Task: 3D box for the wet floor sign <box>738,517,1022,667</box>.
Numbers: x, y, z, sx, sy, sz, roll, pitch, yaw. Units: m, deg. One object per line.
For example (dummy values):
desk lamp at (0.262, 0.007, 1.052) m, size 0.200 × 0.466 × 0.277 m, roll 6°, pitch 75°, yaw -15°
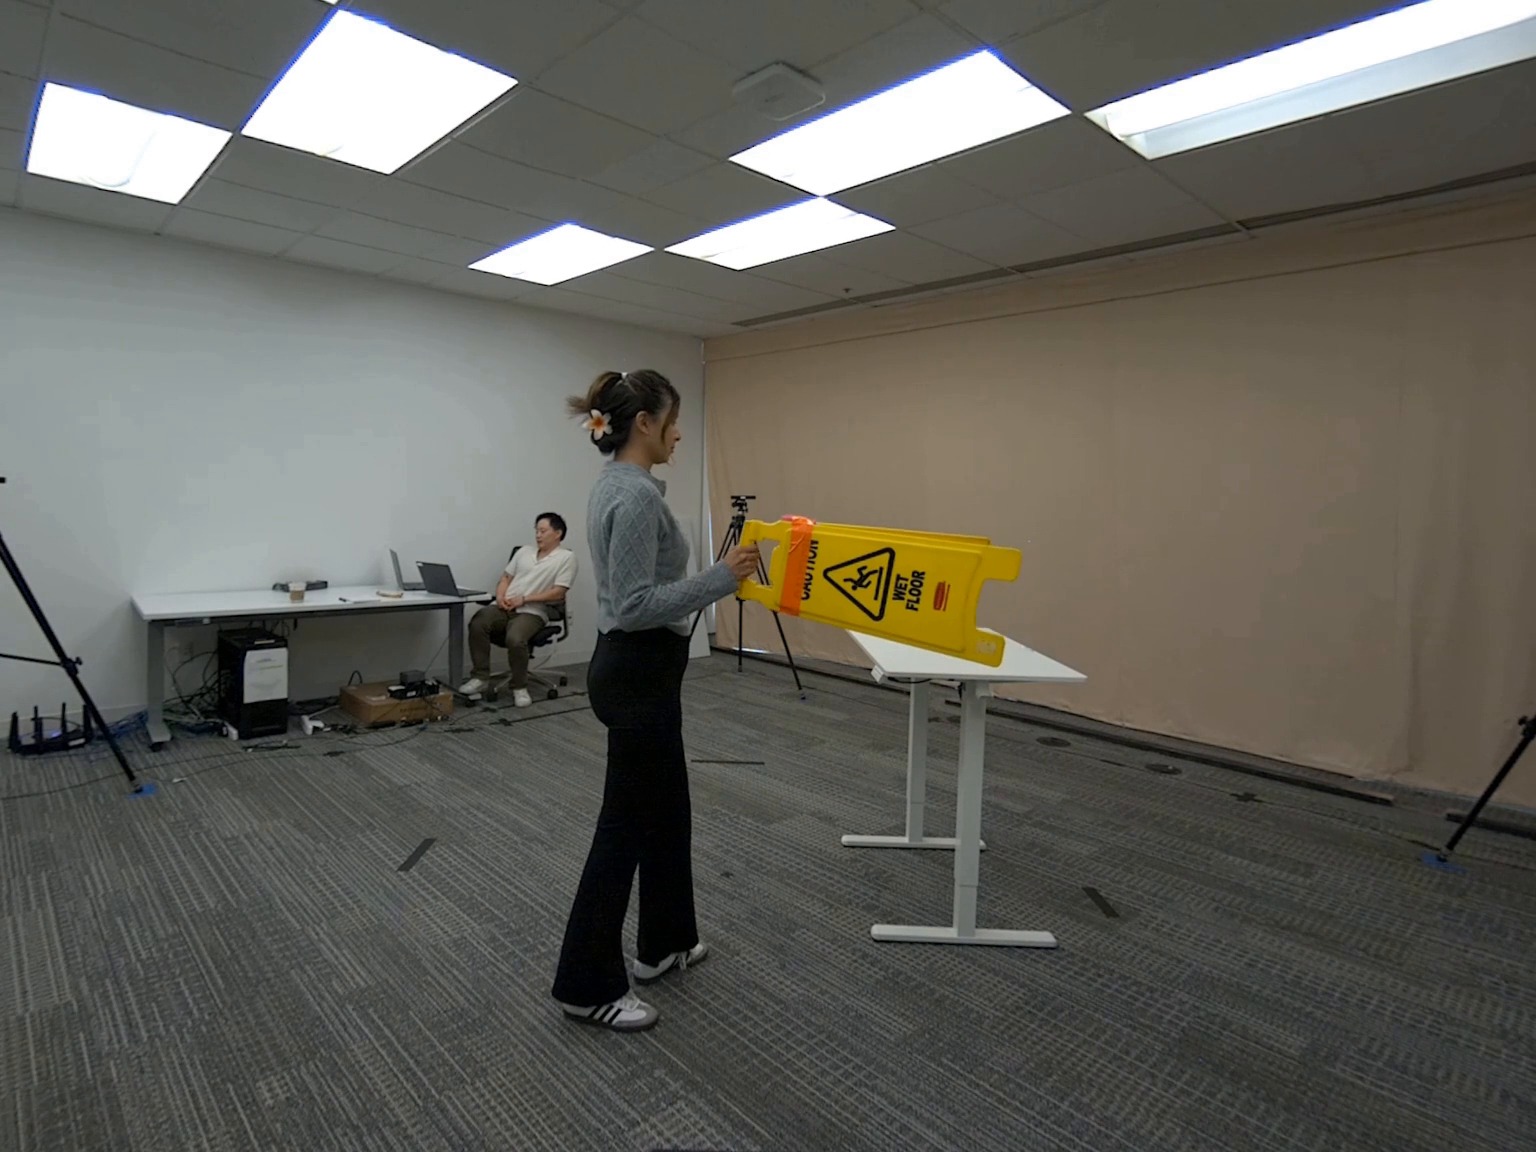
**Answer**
wet floor sign at (0.235, 0.013, 2.085) m, size 0.648 × 0.280 × 0.291 m, roll 10°, pitch 10°, yaw 3°
